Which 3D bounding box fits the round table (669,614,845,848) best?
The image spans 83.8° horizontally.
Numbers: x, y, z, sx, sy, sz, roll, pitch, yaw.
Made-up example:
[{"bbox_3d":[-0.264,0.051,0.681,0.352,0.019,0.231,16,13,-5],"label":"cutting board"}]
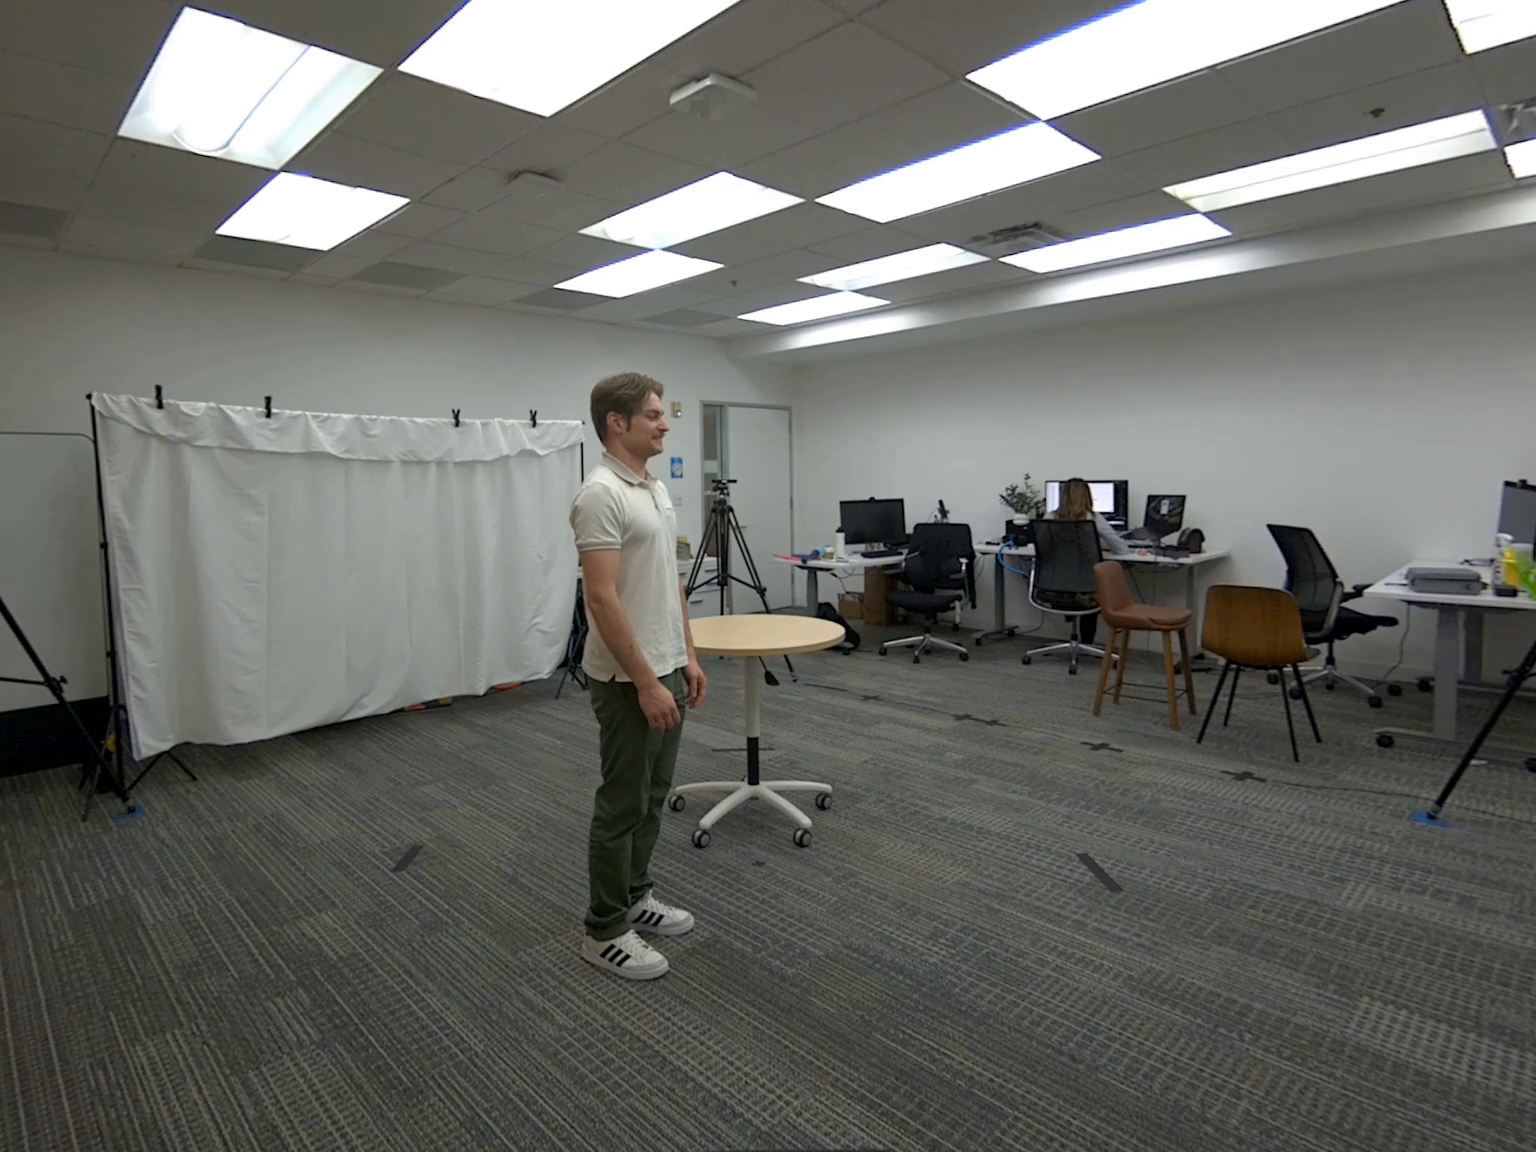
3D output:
[{"bbox_3d":[-0.062,0.613,3.515,0.763,0.791,0.768,-1,5,-2],"label":"round table"}]
